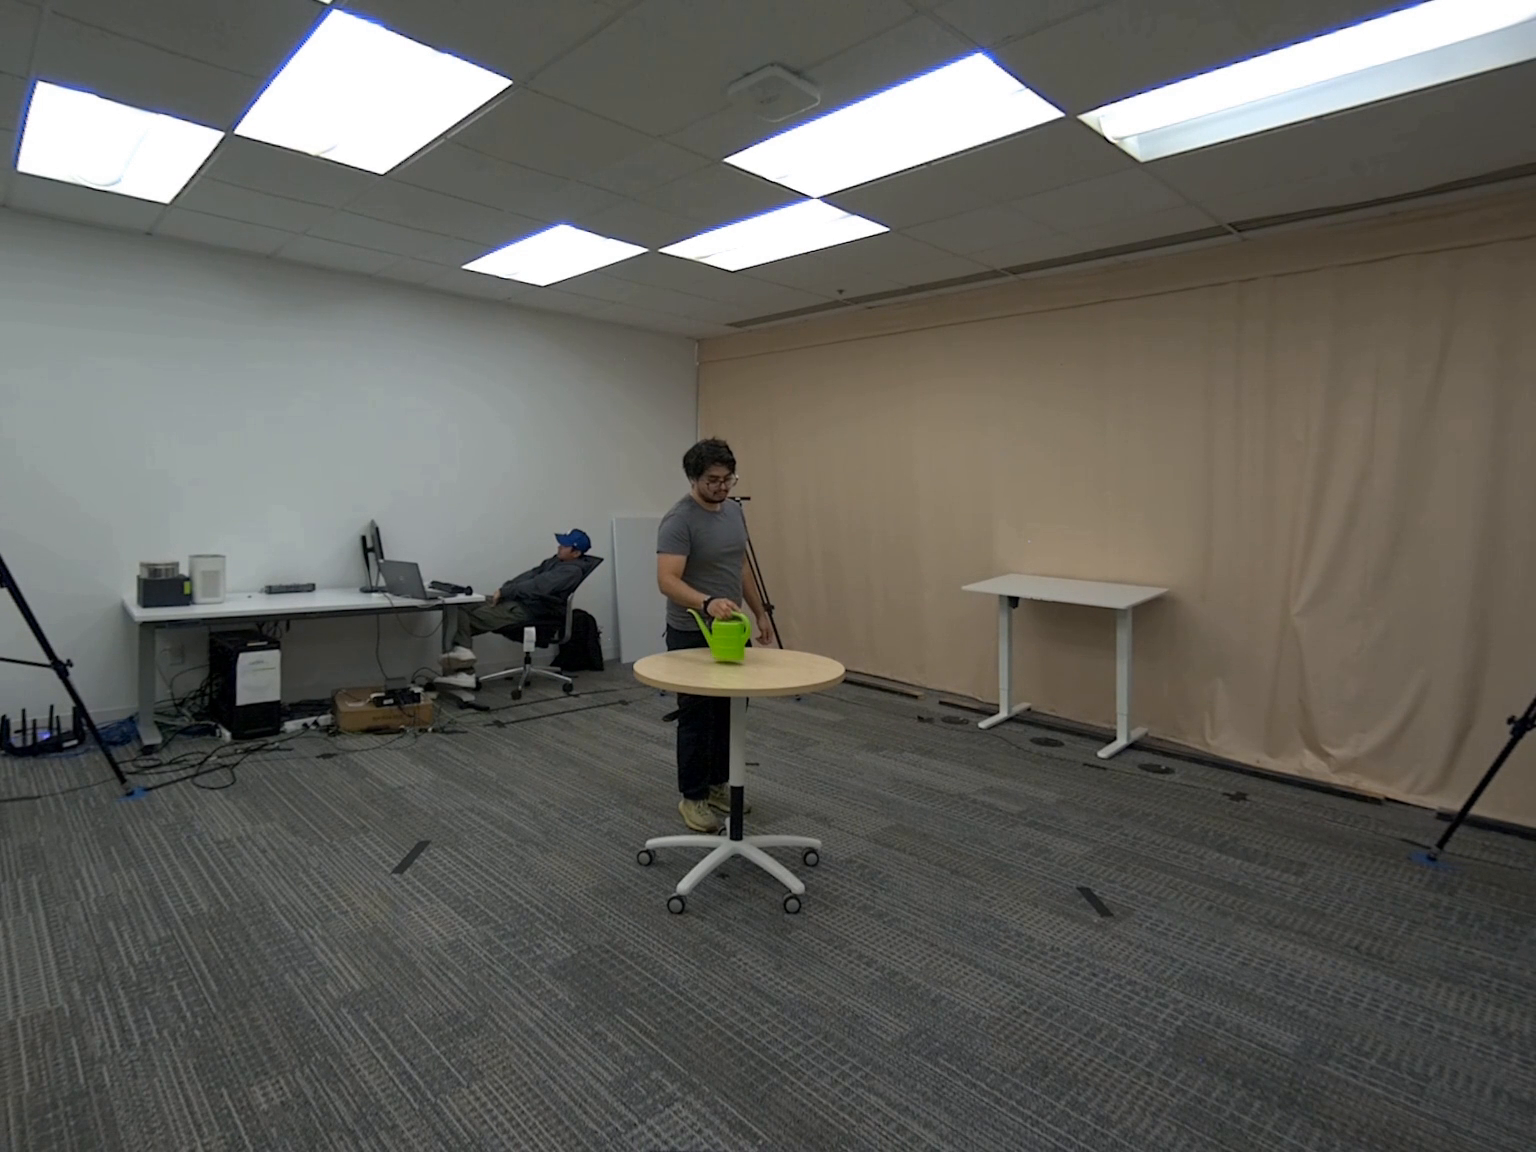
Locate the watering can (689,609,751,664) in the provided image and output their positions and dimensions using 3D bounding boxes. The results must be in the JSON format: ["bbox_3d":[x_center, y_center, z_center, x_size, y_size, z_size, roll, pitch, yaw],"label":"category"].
[{"bbox_3d":[-0.191,0.218,3.135,0.096,0.177,0.285,-1,2,-43],"label":"watering can"}]
